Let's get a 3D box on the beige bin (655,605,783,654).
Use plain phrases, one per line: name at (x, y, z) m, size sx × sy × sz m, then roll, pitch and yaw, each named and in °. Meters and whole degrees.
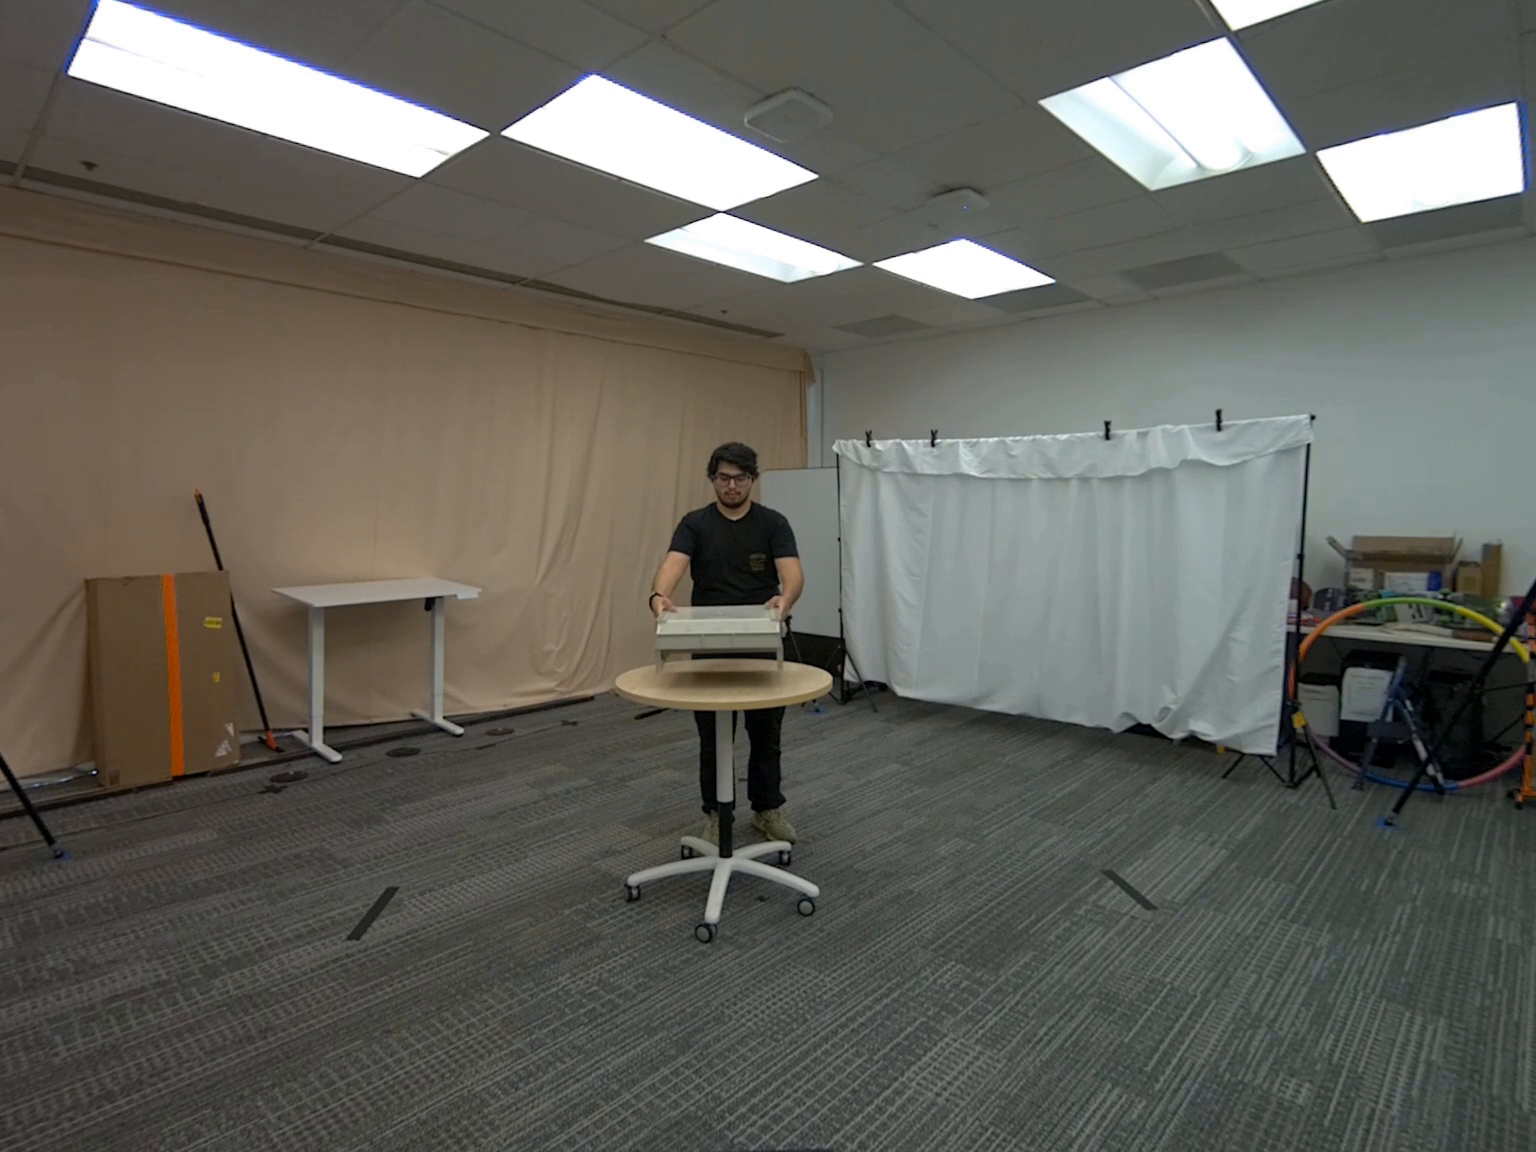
beige bin at (-0.164, 0.218, 2.905) m, size 0.423 × 0.188 × 0.378 m, roll -2°, pitch 6°, yaw 0°
